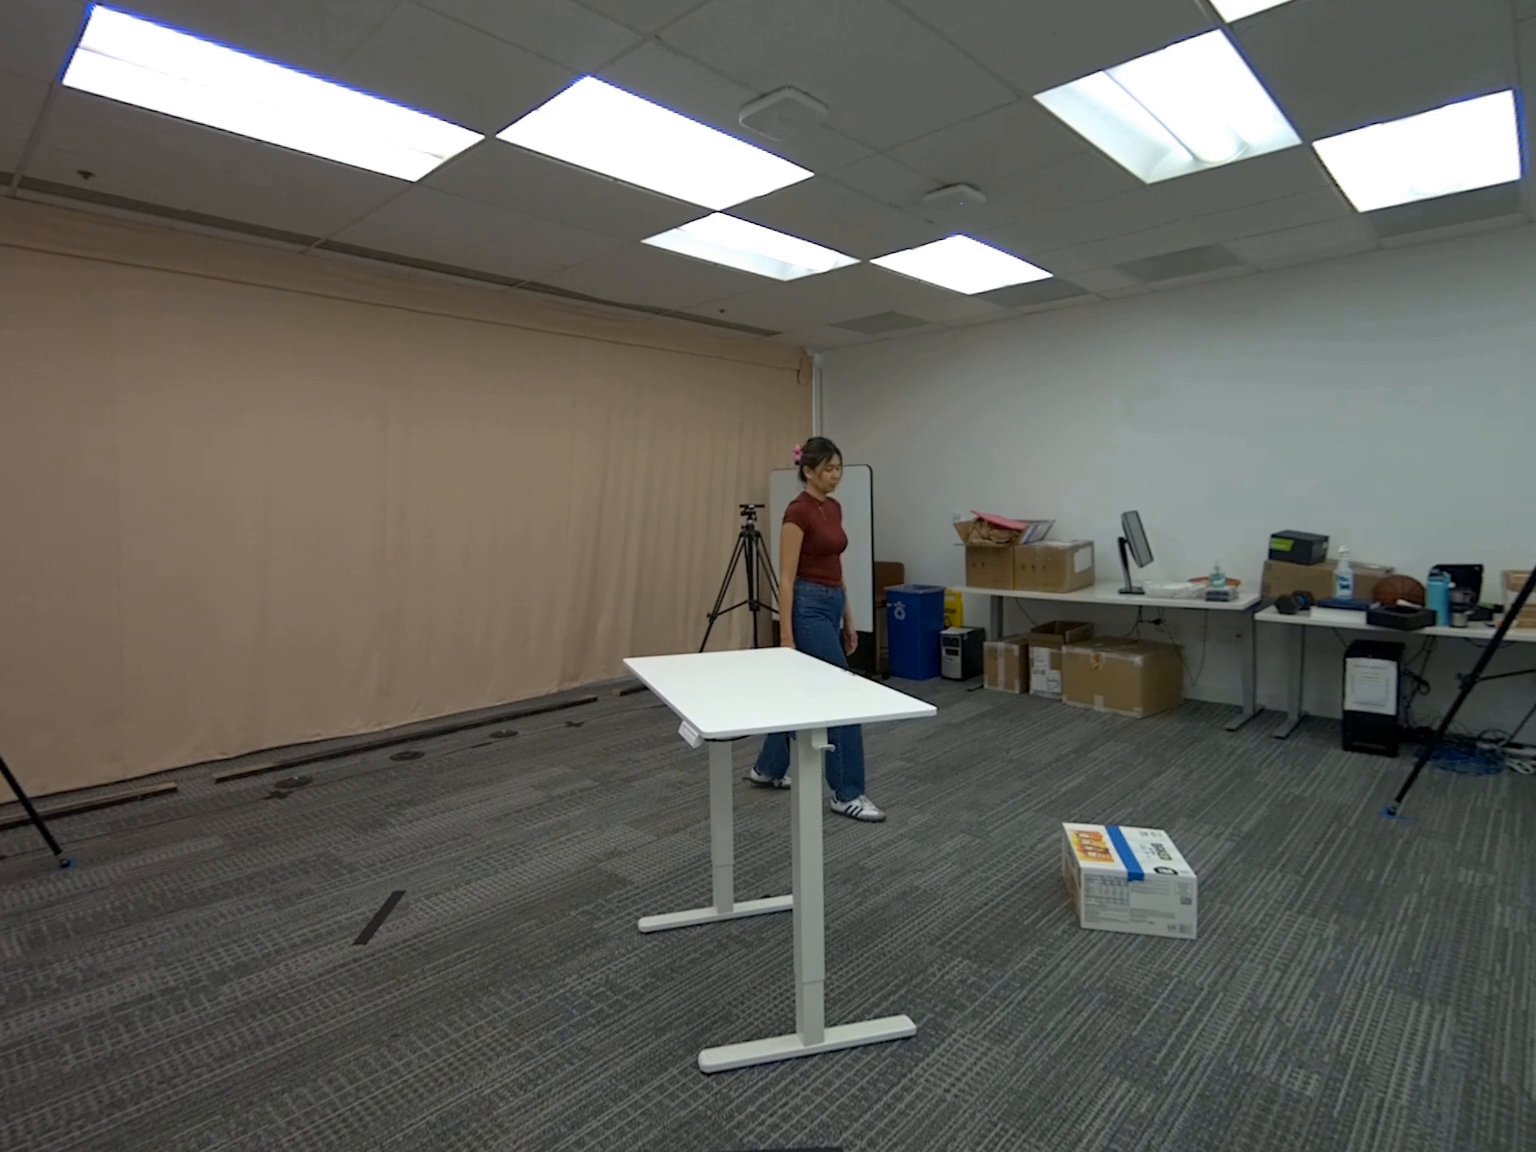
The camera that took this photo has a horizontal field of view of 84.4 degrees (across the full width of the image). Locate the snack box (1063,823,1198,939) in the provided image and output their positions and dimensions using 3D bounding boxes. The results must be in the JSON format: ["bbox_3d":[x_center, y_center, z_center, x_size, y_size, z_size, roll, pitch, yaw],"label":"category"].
[{"bbox_3d":[1.227,1.028,2.871,0.345,0.205,0.400,0,4,13],"label":"snack box"}]
